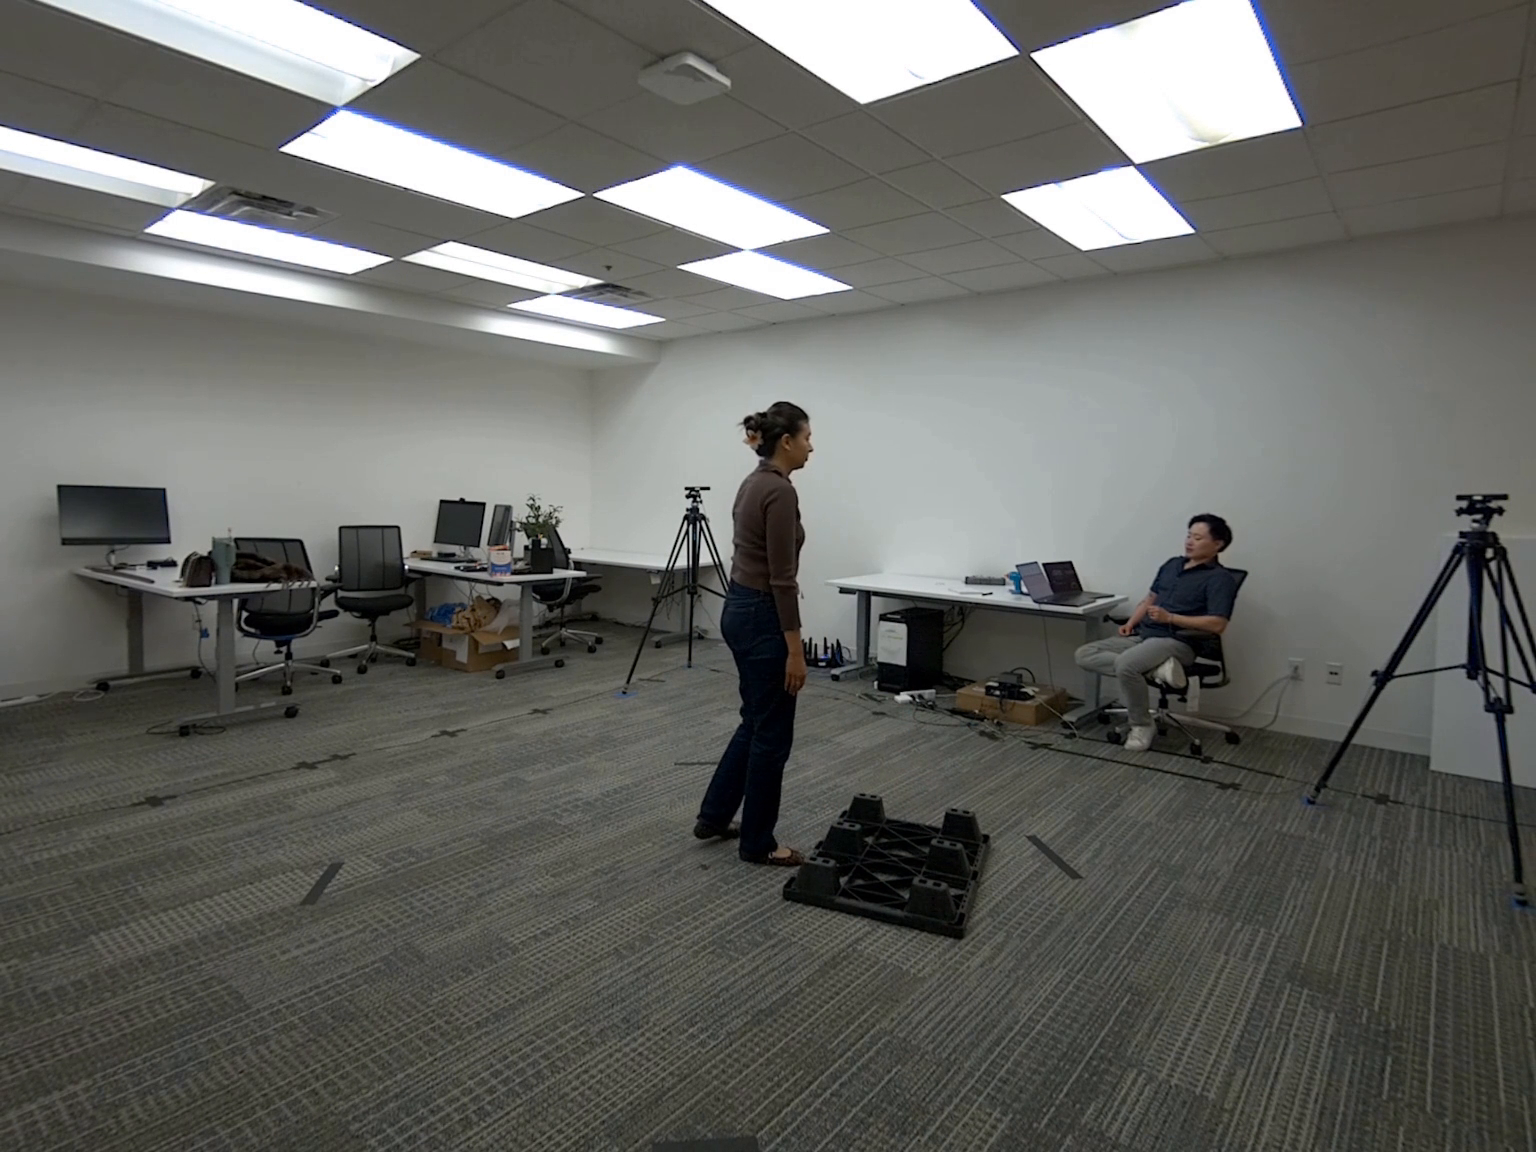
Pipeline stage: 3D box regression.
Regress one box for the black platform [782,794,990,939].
[{"bbox_3d":[0.461,1.010,3.117,0.619,0.143,0.790,3,6,21],"label":"black platform"}]
